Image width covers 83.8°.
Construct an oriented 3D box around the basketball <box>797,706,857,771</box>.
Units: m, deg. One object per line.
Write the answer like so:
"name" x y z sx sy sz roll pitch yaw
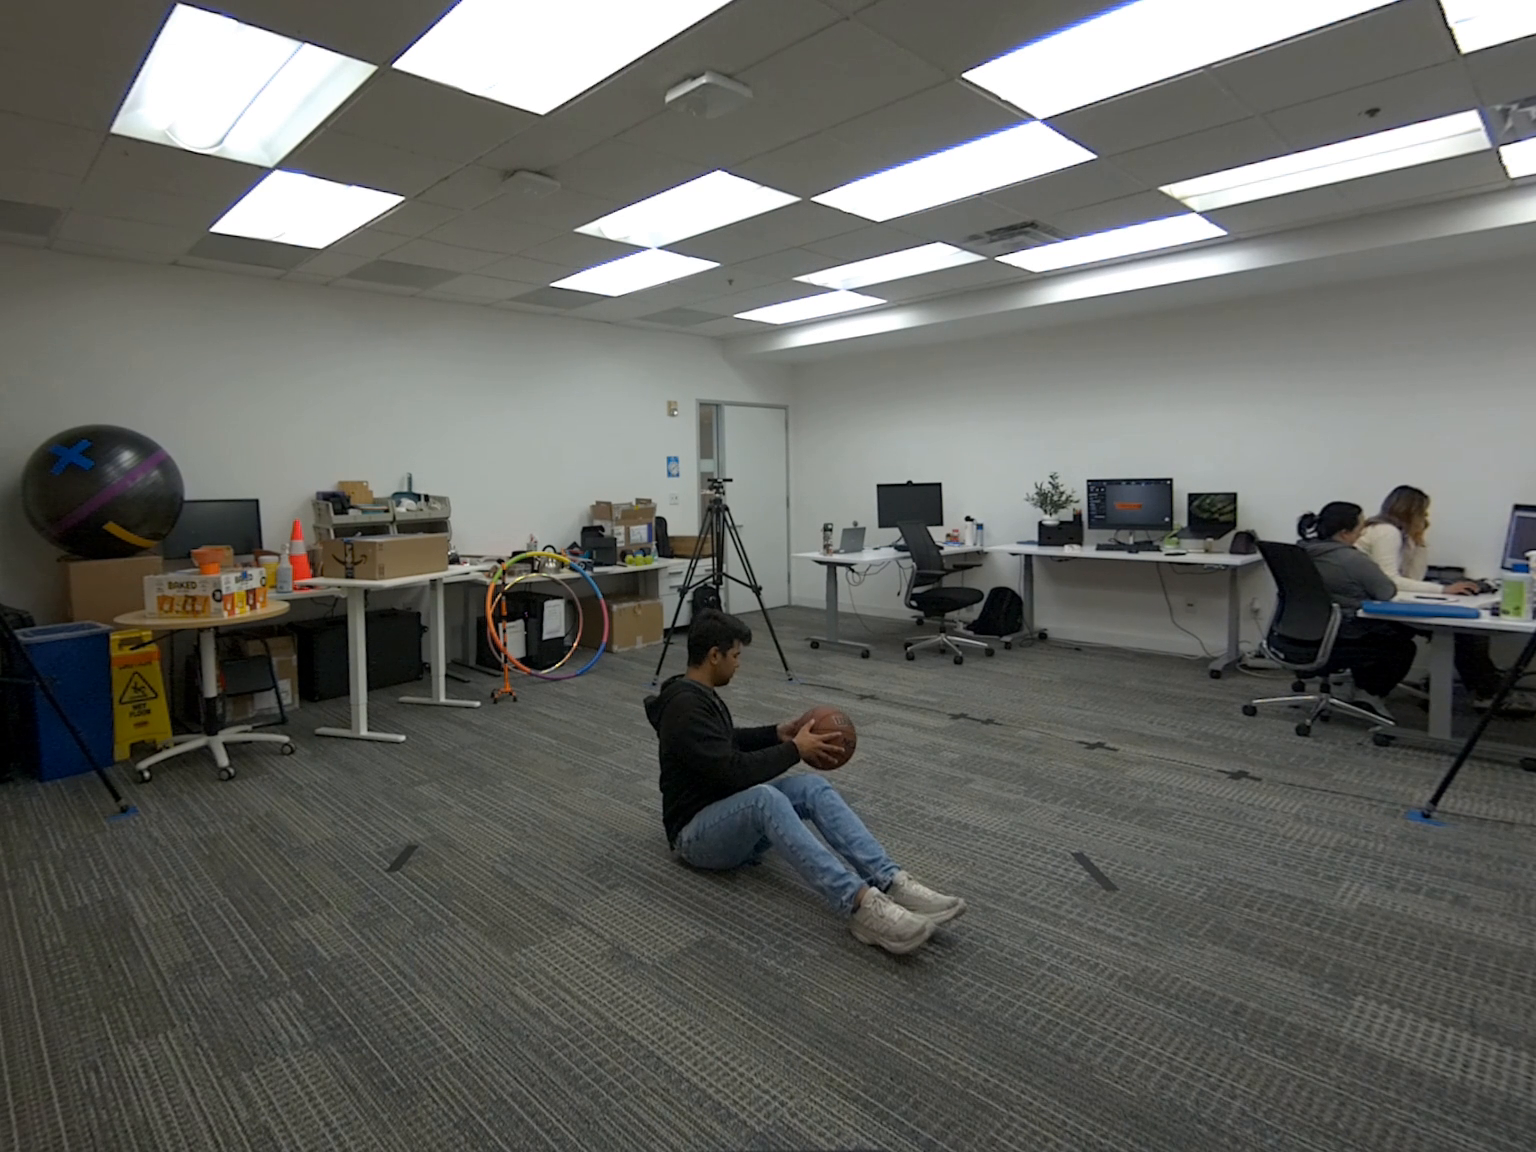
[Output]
"basketball" 0.200 0.621 3.249 0.236 0.235 0.237 -1 5 -2
